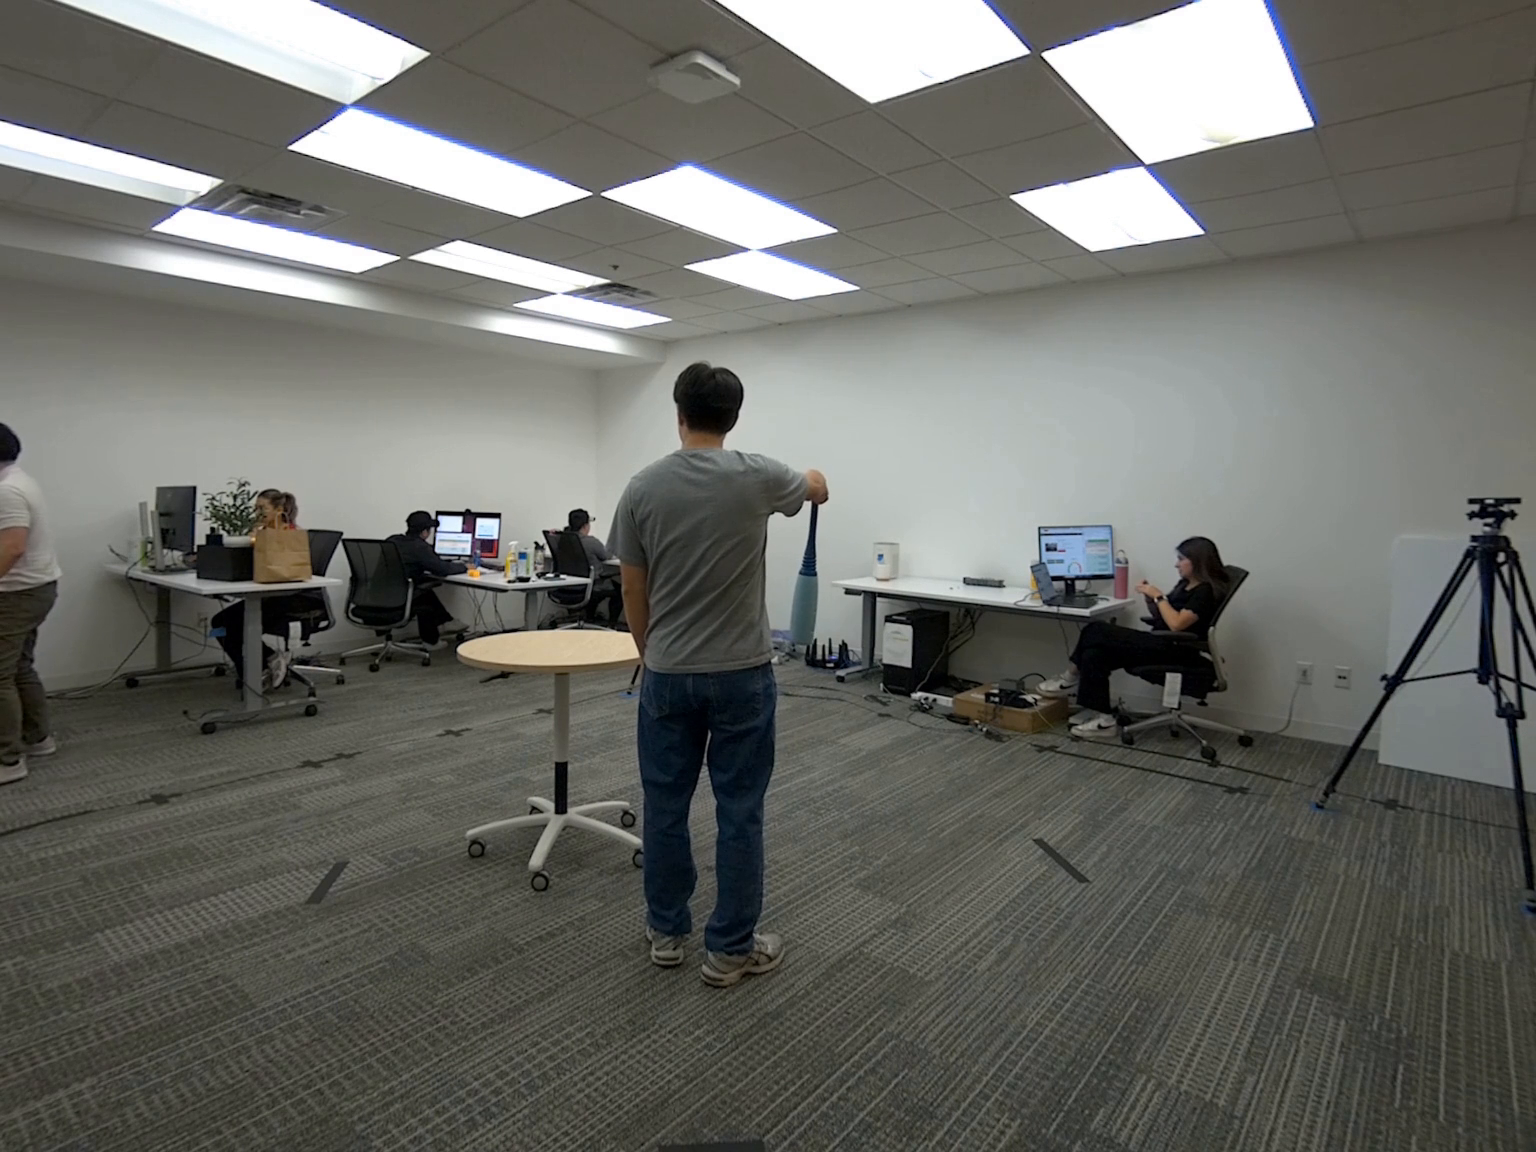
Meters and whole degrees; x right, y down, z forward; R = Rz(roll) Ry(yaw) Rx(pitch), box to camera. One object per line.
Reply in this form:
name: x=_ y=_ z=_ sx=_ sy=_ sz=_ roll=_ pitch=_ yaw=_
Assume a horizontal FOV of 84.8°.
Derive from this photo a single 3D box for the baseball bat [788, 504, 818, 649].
baseball bat: x=0.147 y=-0.027 z=3.012 sx=0.089 sy=0.541 sz=0.089 roll=9 pitch=4 yaw=-3
